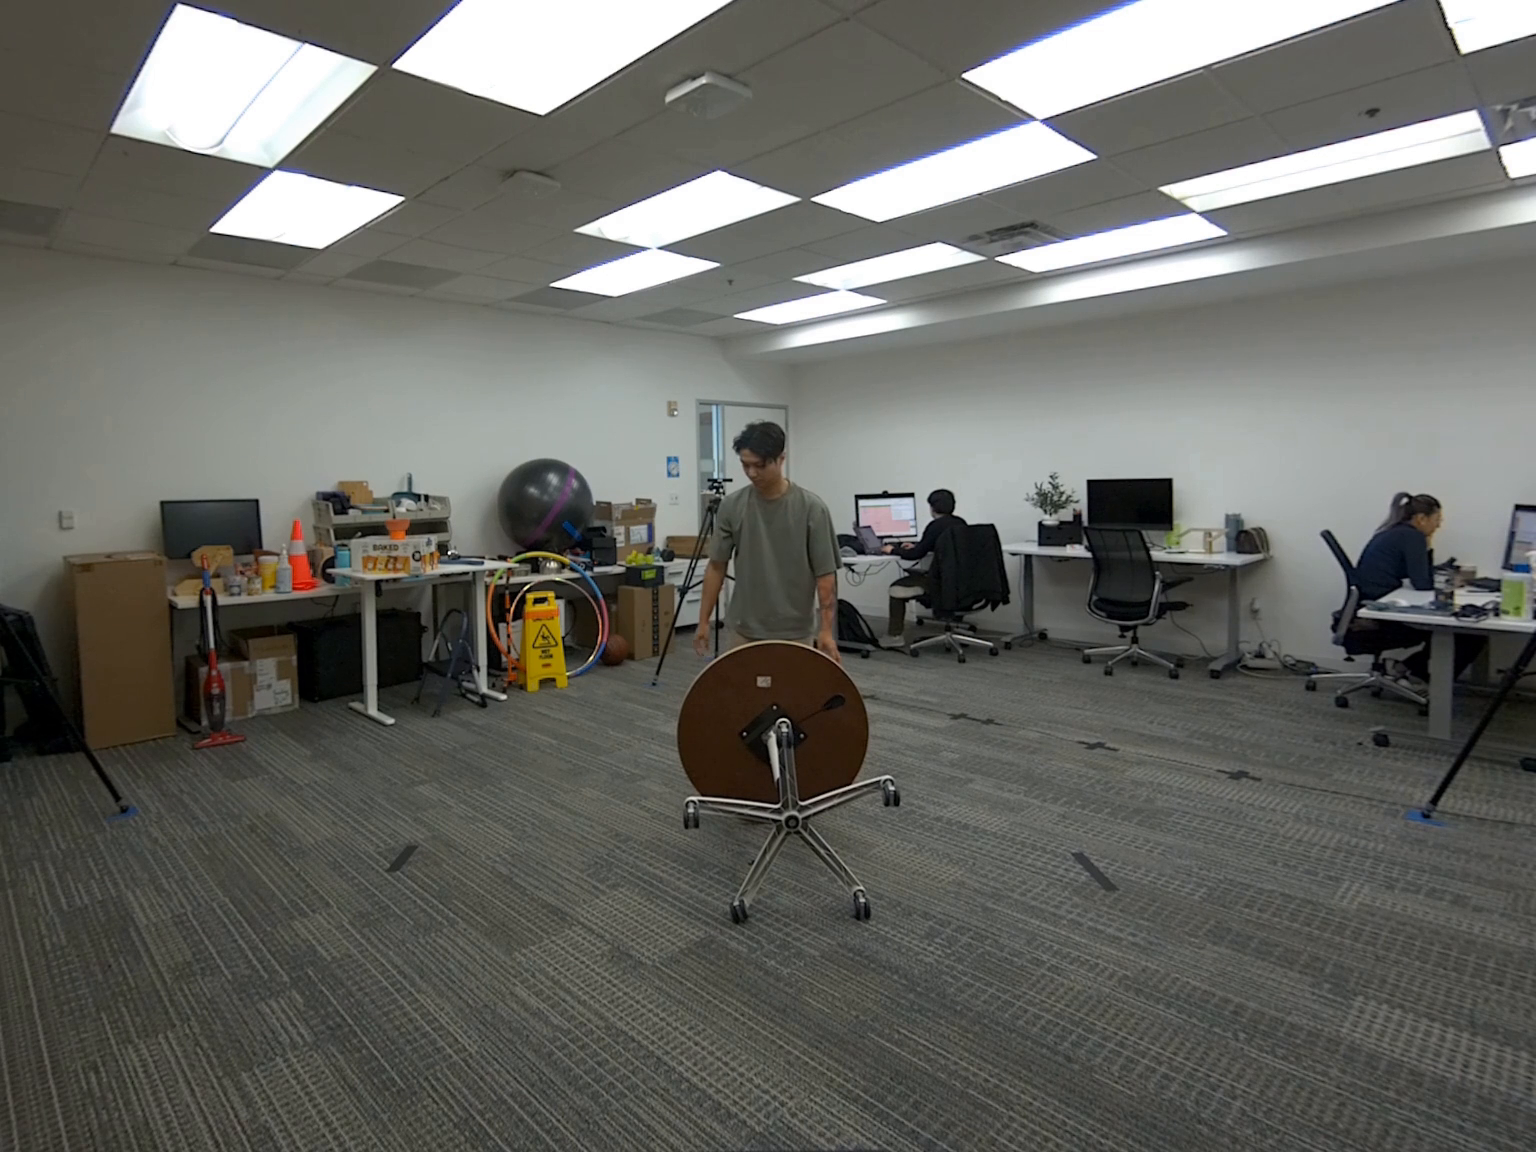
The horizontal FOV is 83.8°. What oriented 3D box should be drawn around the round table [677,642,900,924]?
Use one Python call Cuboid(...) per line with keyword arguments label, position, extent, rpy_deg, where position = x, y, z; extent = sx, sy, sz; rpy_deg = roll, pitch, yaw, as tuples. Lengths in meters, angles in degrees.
Cuboid(label="round table", position=(0.059, 0.707, 3.021), extent=(0.782, 0.778, 0.797), rpy_deg=(-1, 11, -4))
